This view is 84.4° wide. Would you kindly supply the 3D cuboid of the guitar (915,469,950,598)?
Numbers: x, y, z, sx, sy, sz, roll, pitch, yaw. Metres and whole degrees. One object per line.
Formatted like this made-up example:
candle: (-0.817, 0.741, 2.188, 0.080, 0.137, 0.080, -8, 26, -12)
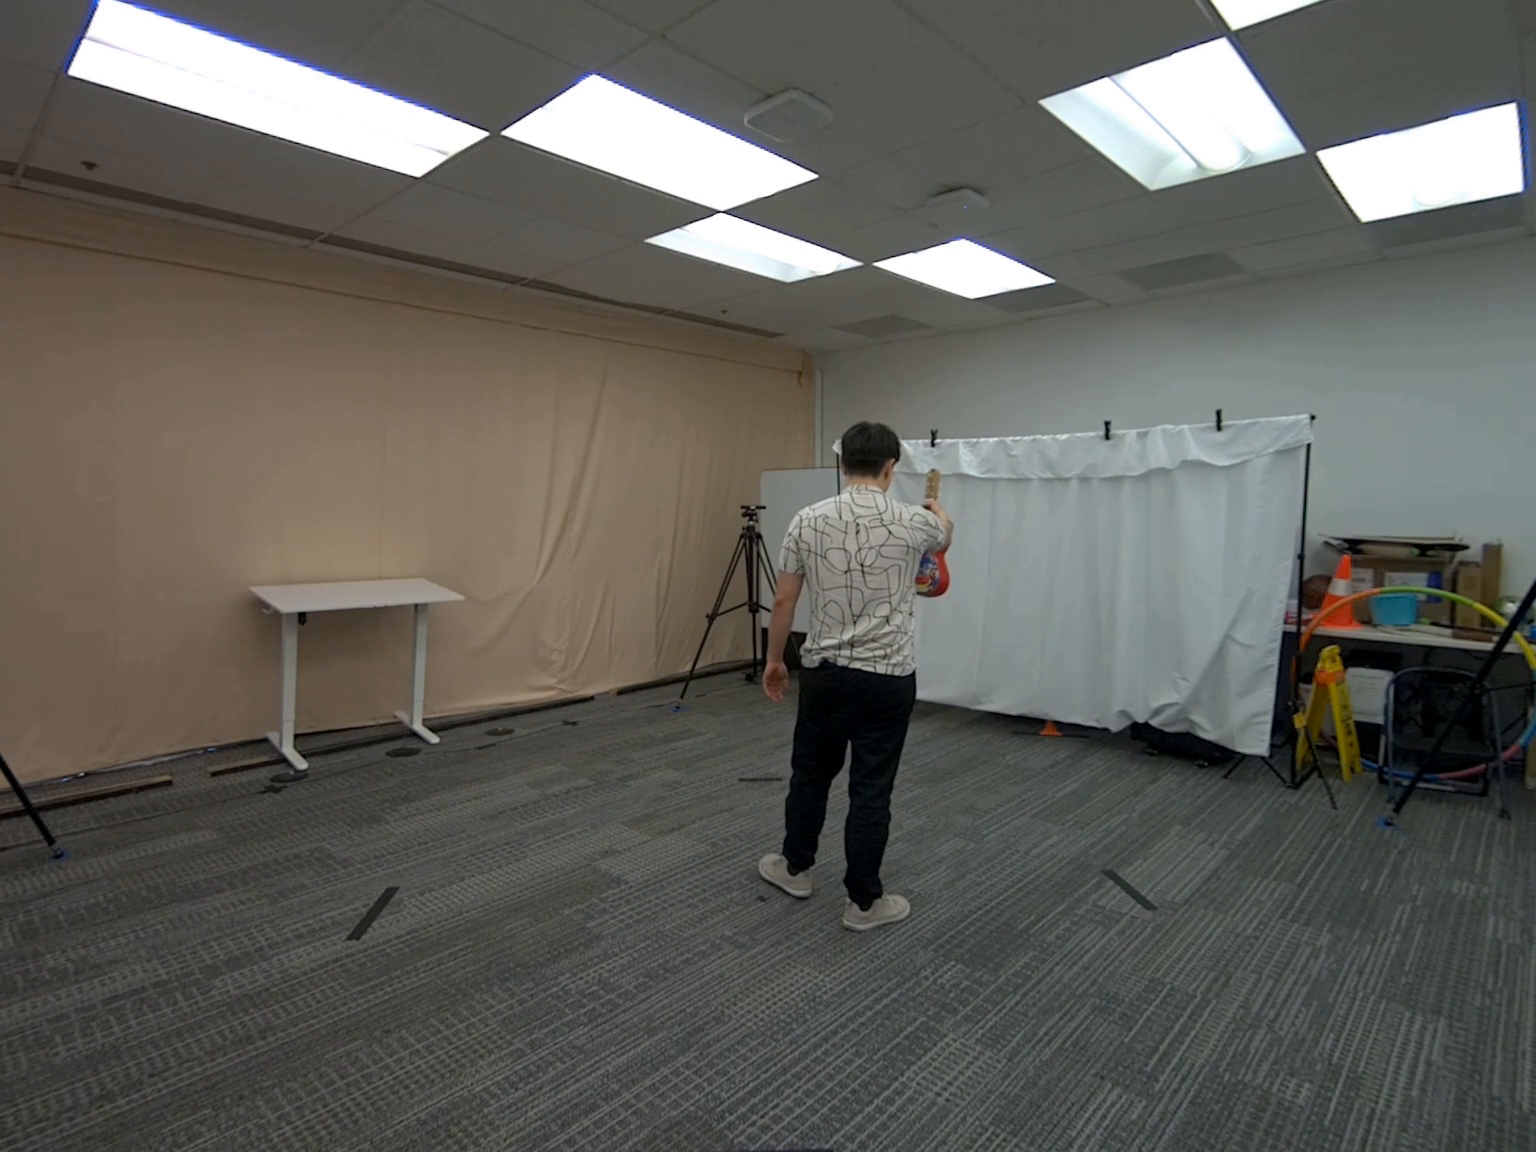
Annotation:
guitar: (0.650, -0.162, 3.267, 0.068, 0.498, 0.200, 14, 0, -38)
